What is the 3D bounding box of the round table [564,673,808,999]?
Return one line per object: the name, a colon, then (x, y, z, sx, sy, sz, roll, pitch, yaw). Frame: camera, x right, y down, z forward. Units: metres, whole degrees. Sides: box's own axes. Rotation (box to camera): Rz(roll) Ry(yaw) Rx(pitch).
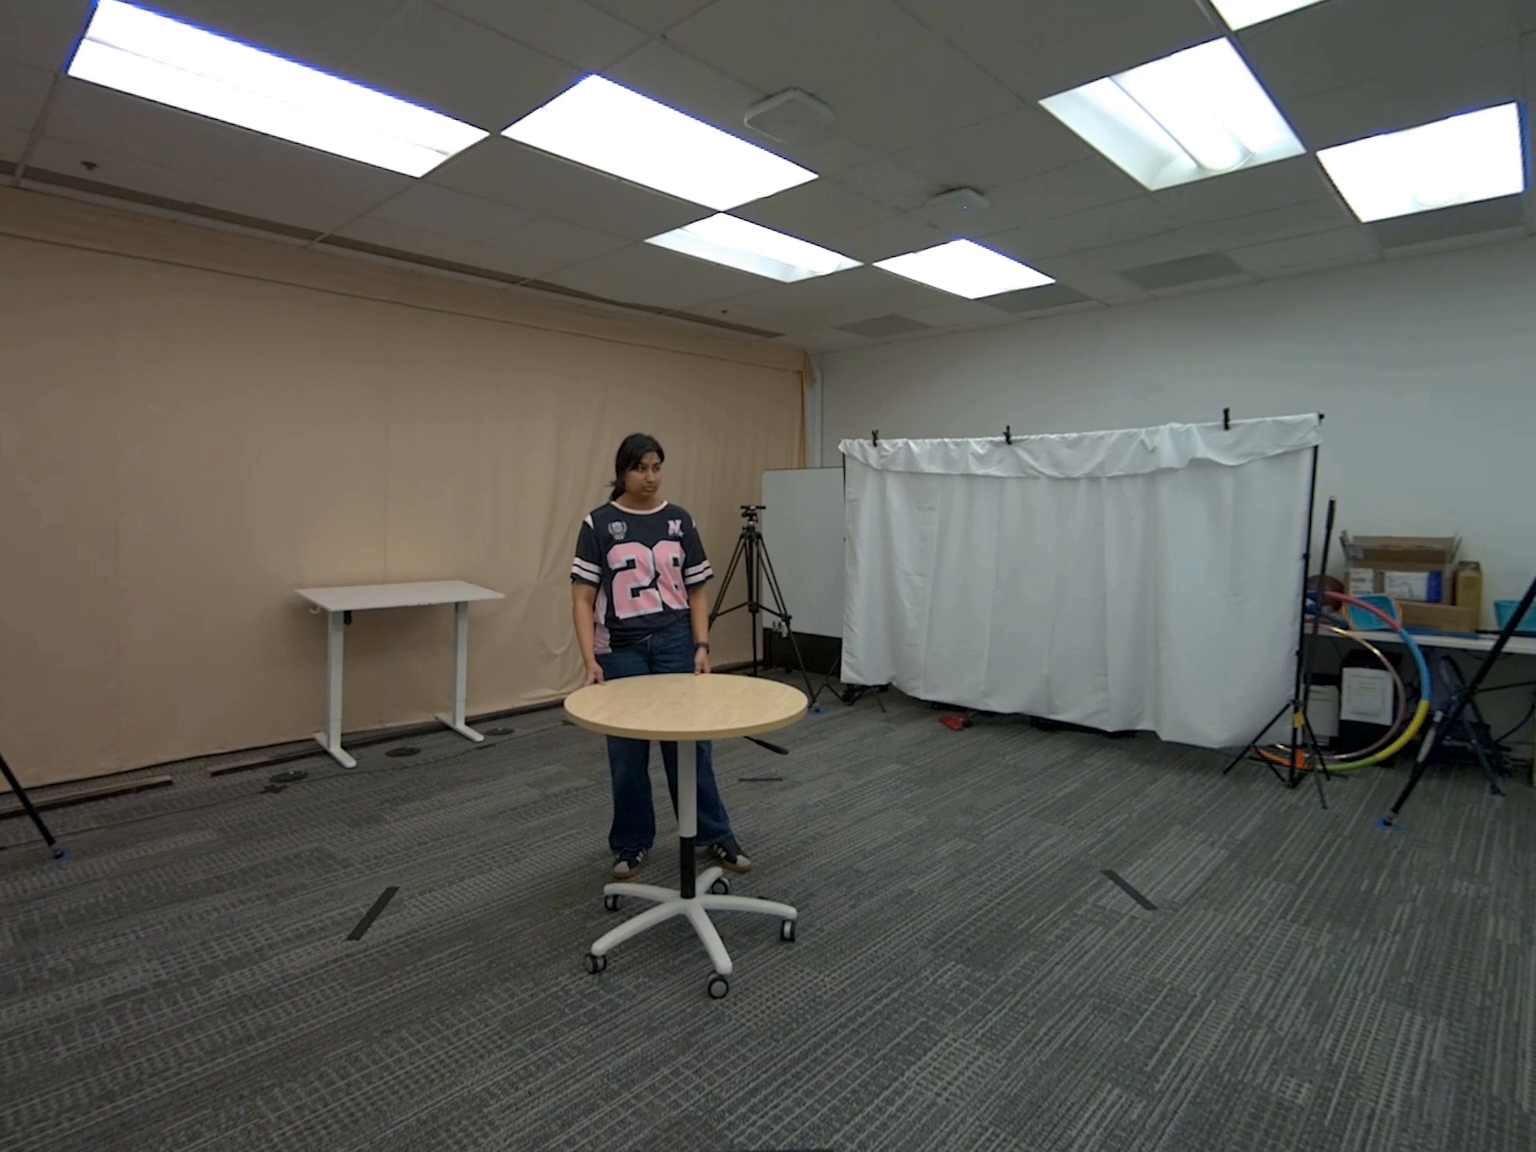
round table: (-0.251, 0.780, 2.691, 0.763, 0.792, 0.767, 0, 4, -2)
